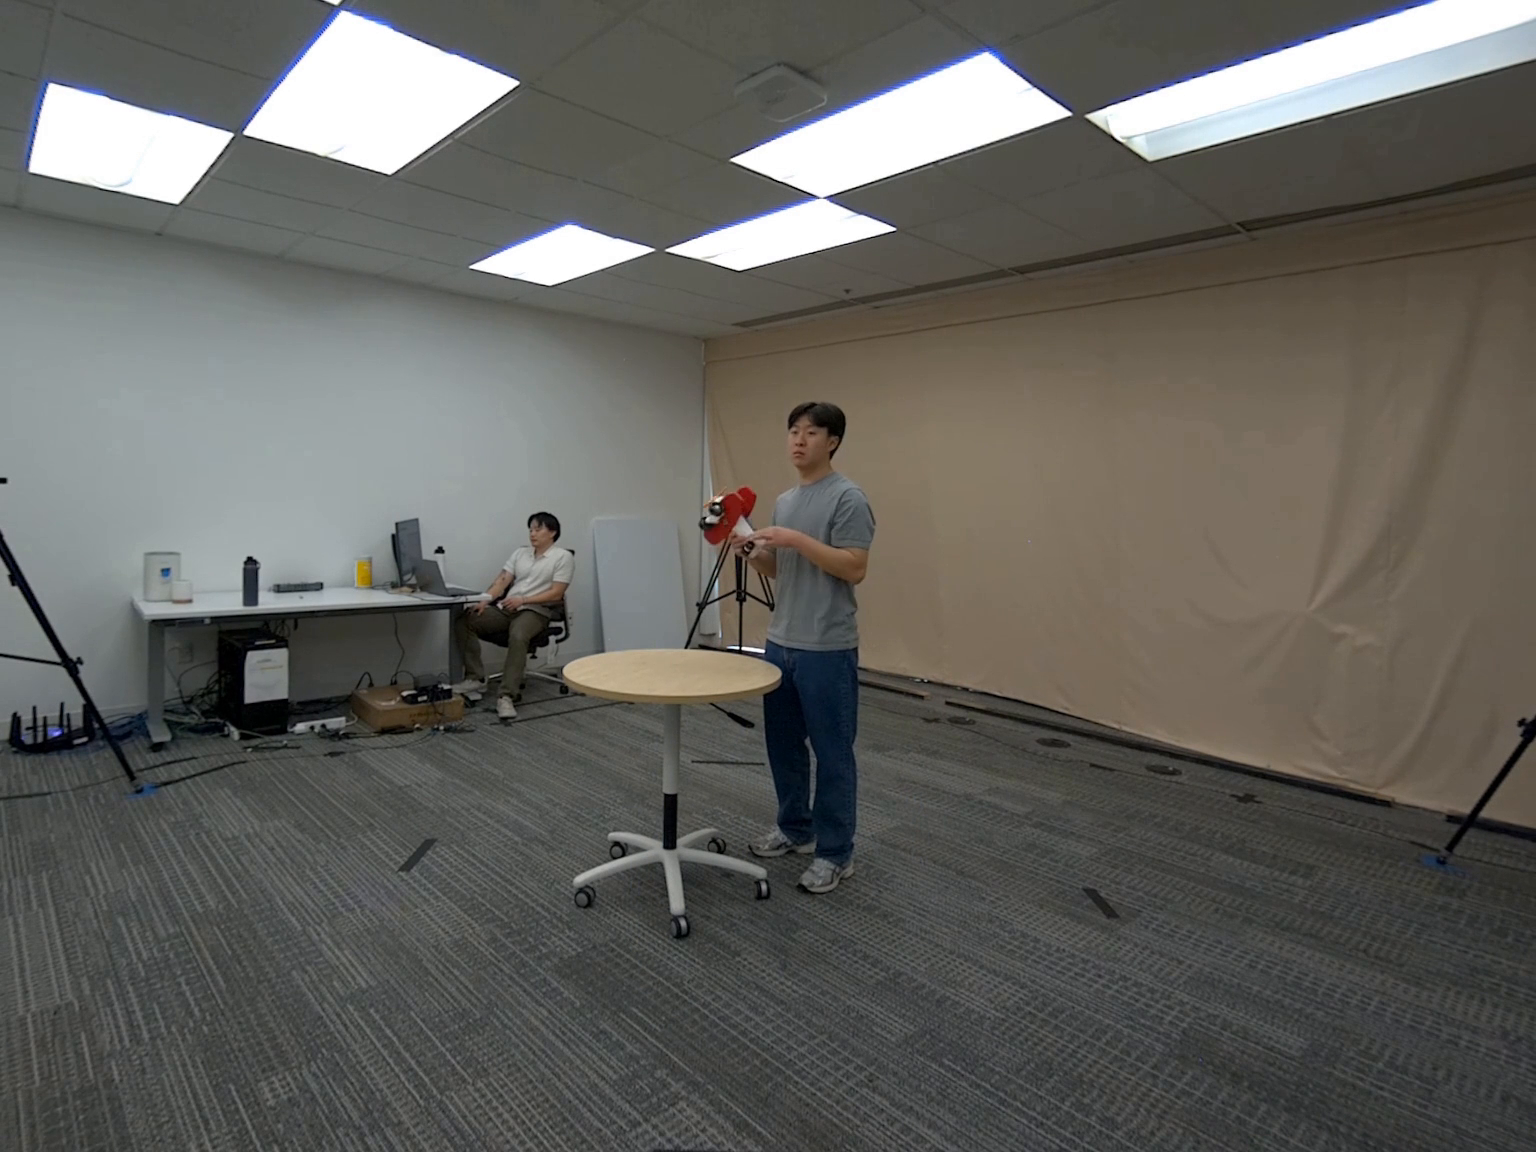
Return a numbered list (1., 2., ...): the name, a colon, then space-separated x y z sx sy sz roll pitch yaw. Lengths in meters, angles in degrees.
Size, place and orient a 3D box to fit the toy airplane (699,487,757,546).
1. toy airplane: -0.132 -0.158 3.084 0.255 0.255 0.157 -17 21 34
